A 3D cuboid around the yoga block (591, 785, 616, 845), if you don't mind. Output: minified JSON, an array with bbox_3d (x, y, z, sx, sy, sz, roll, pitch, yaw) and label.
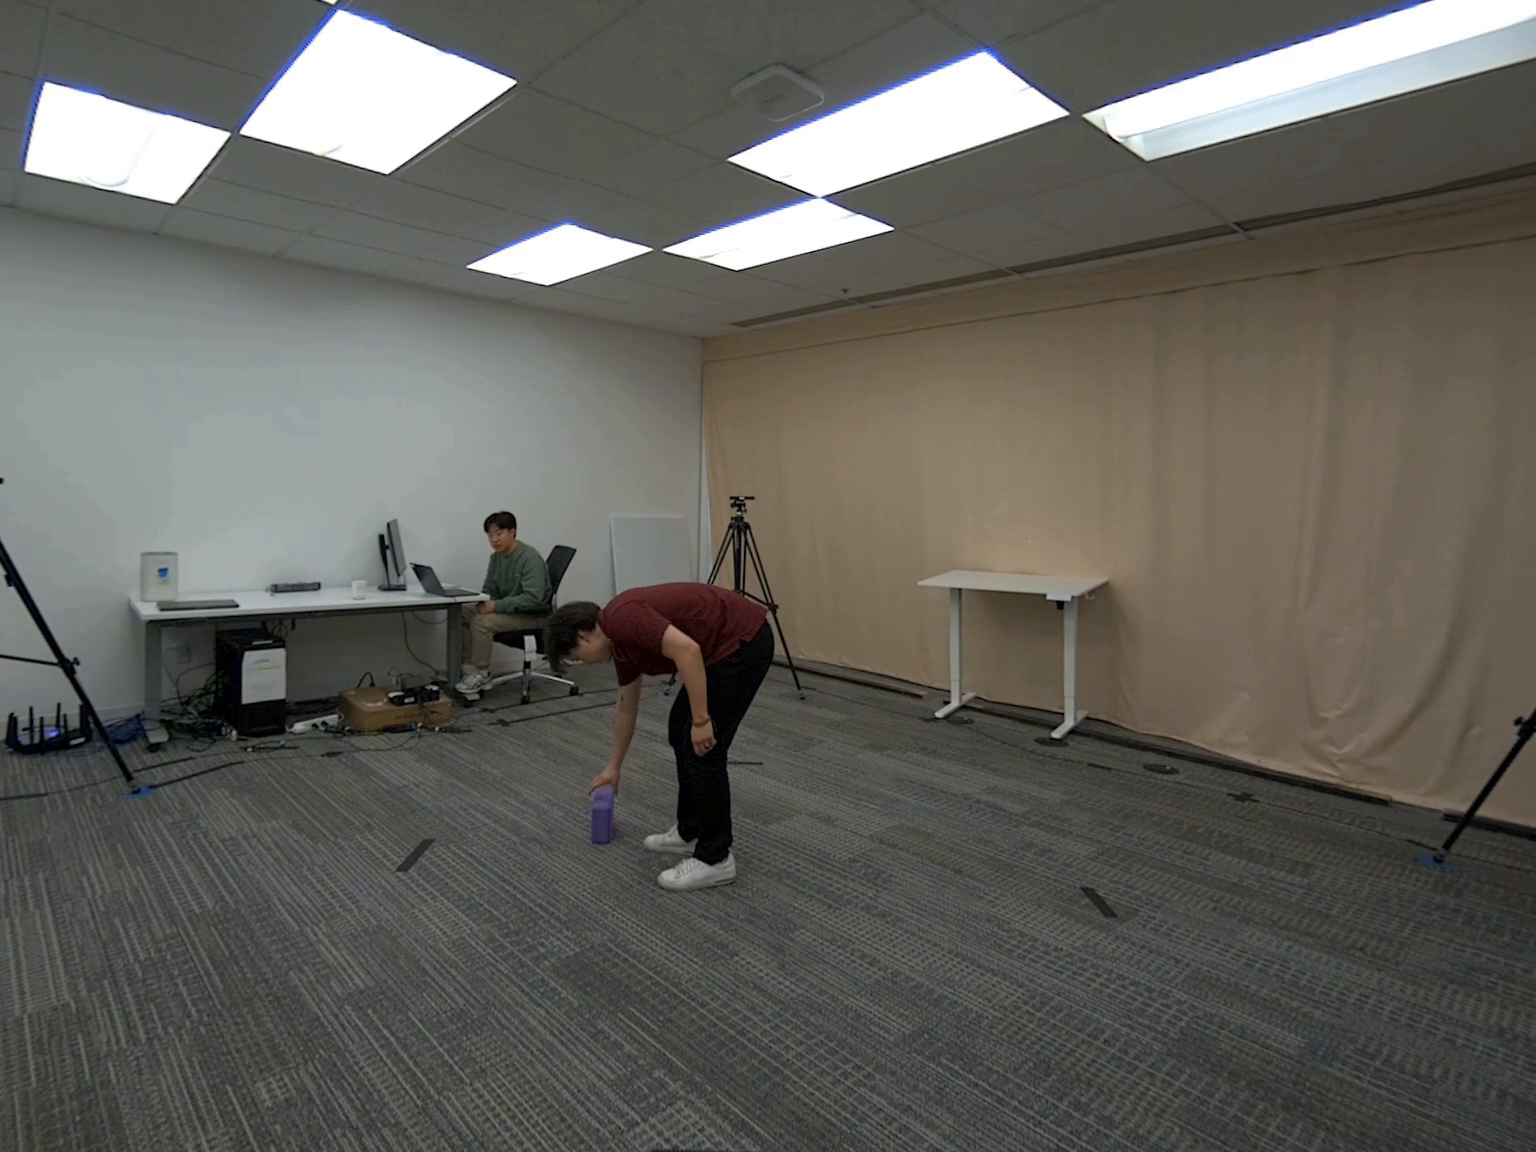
[{"bbox_3d":[-0.690,0.984,3.474,0.076,0.148,0.231,0,5,-4],"label":"yoga block"}]
